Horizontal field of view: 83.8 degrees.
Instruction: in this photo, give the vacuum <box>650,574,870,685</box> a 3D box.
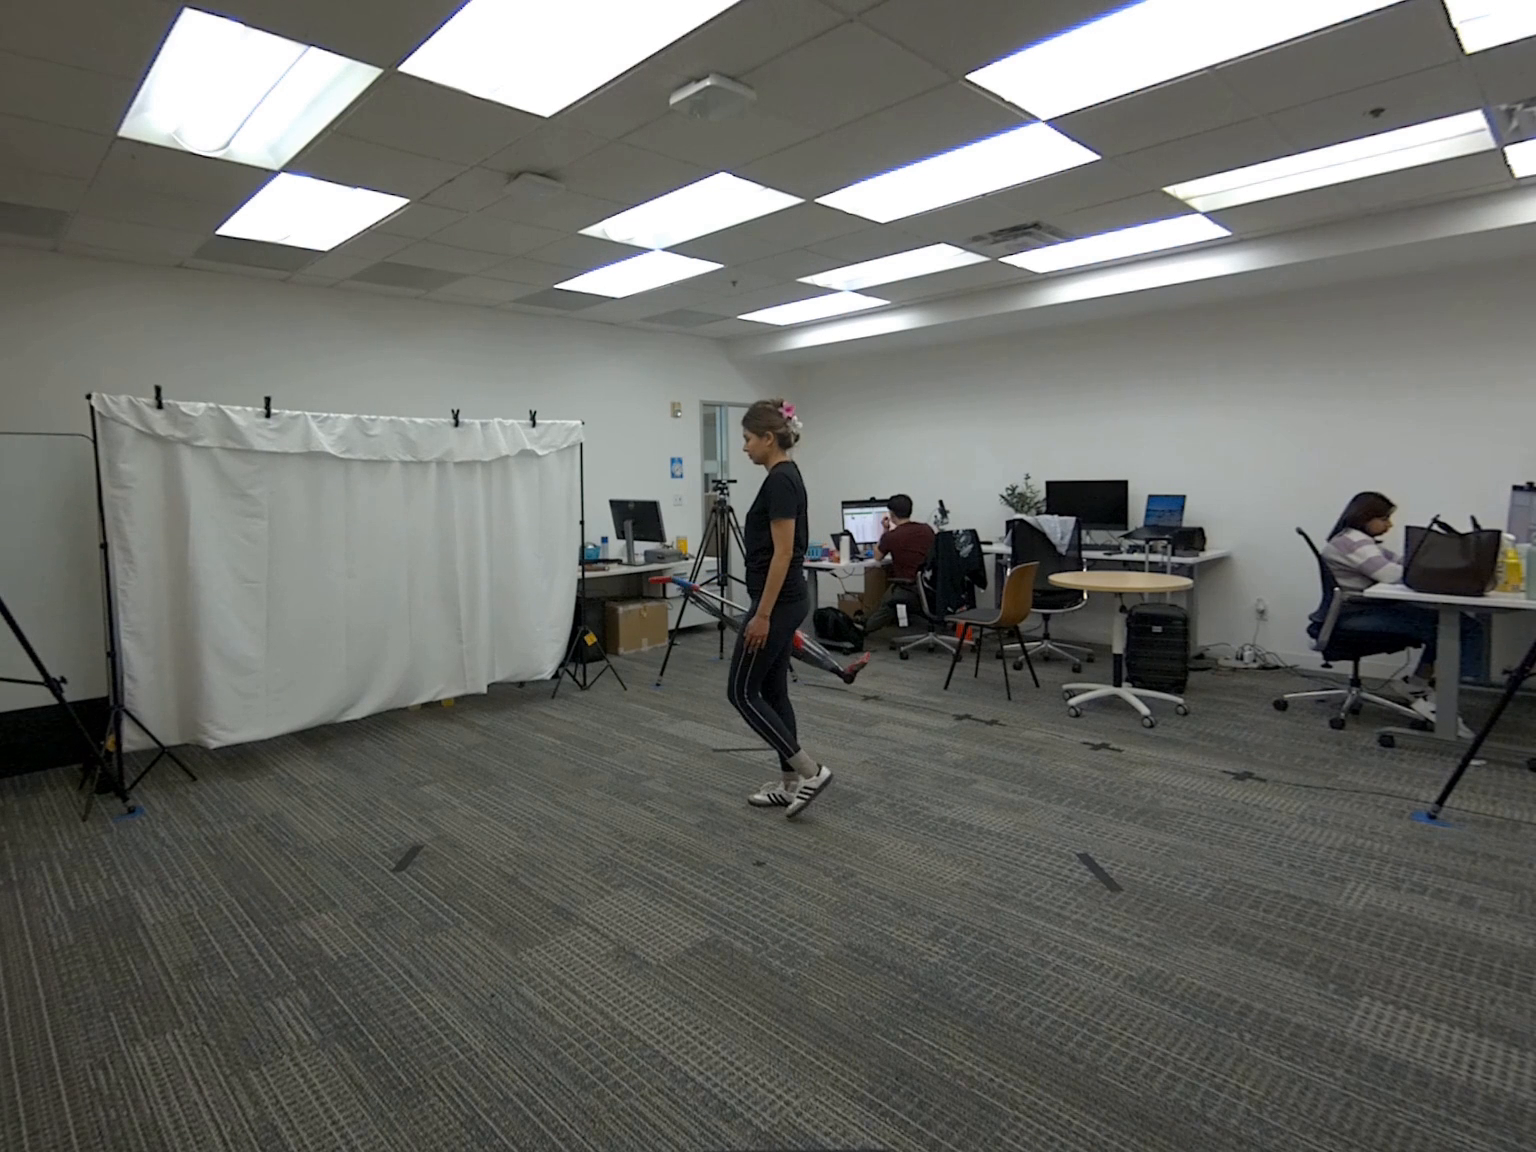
[{"bbox_3d":[-0.066,0.218,3.915,1.066,0.144,0.249,24,1,12],"label":"vacuum"}]
